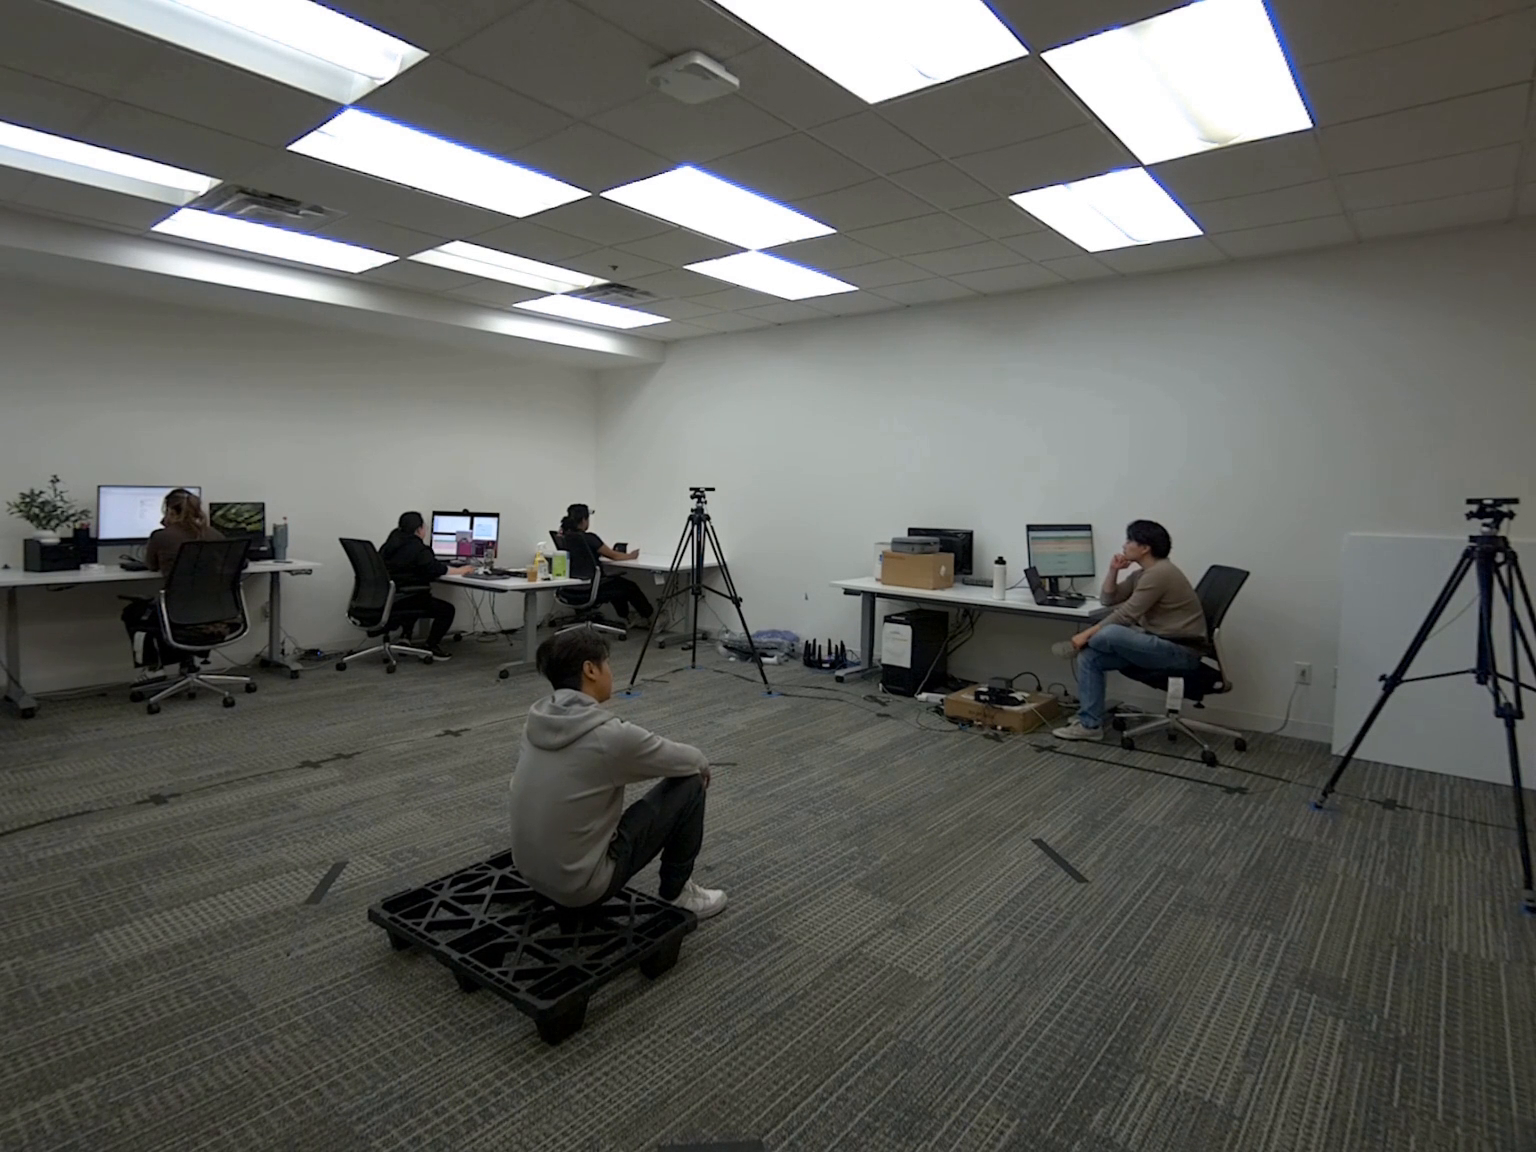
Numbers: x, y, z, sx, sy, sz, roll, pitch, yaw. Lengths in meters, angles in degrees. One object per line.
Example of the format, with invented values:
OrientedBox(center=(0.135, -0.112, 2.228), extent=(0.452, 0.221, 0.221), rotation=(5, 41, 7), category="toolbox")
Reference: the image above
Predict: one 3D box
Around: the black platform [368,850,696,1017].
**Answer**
OrientedBox(center=(-0.702, 1.049, 2.523), extent=(0.832, 0.143, 0.588), rotation=(5, 7, 36), category="black platform")
